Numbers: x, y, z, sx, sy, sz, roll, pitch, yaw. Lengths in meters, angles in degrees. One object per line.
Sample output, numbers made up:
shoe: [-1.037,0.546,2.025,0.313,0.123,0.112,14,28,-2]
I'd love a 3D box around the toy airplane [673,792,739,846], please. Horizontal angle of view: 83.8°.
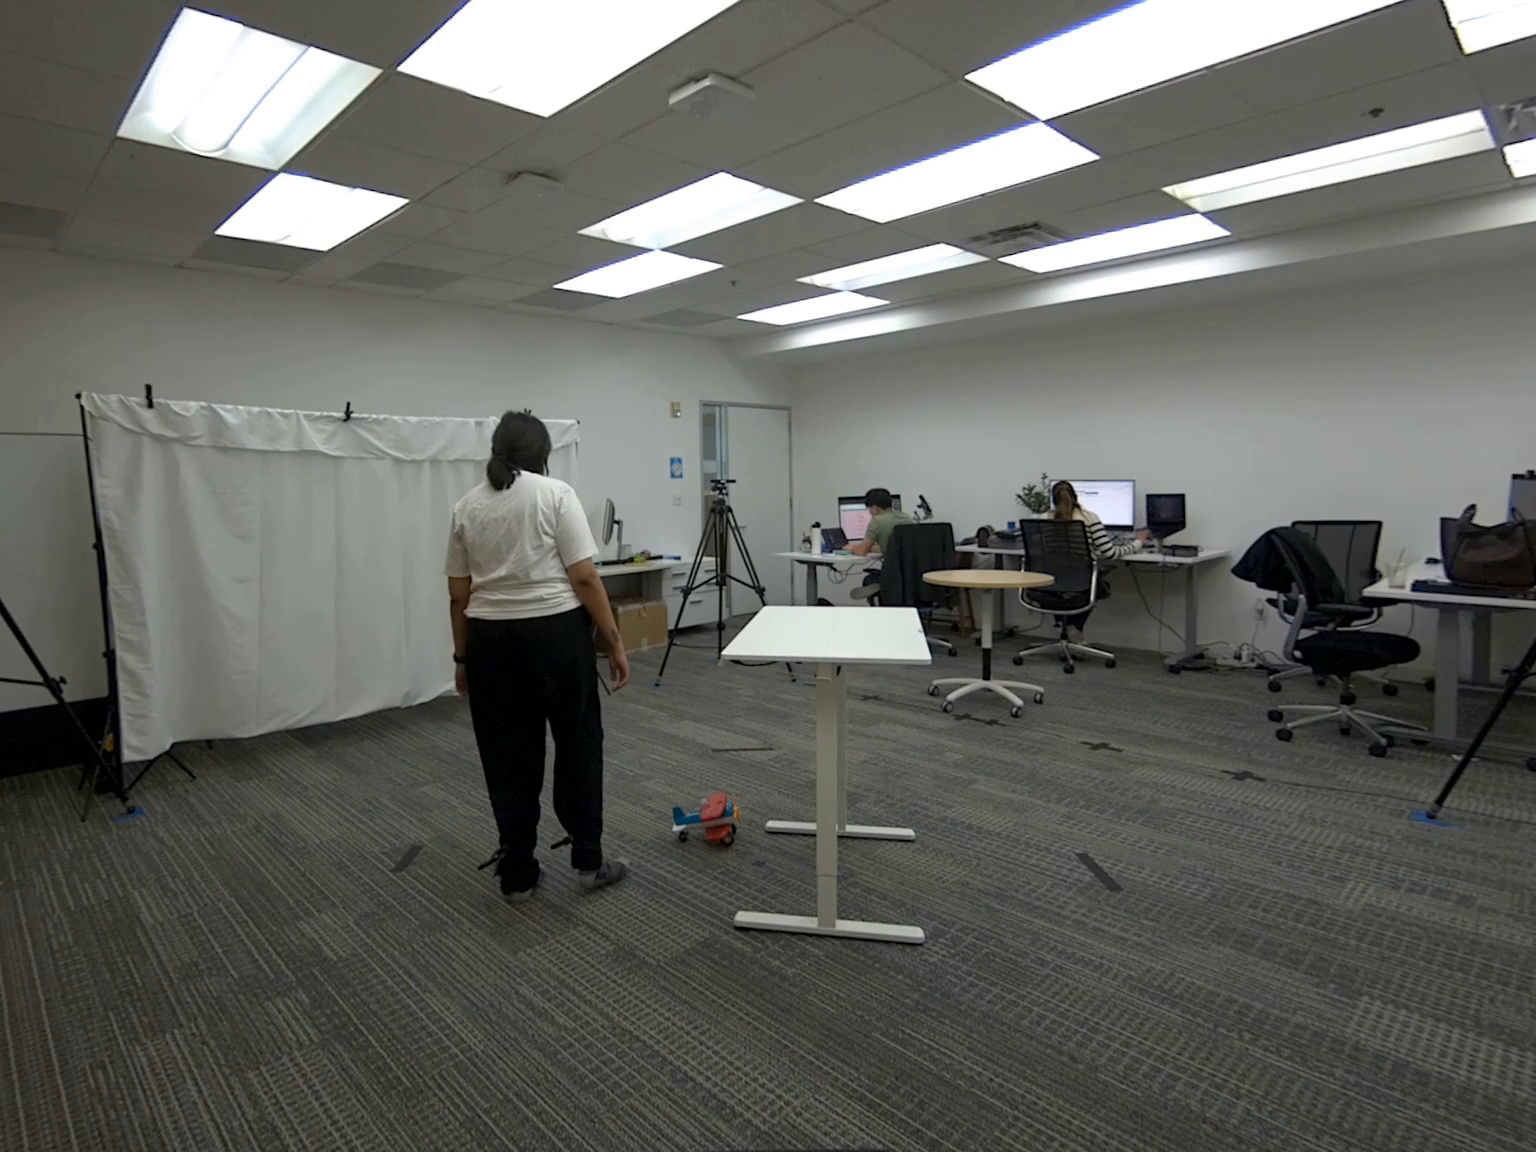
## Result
toy airplane: [-0.236,0.954,3.294,0.254,0.156,0.257,-2,5,-25]
